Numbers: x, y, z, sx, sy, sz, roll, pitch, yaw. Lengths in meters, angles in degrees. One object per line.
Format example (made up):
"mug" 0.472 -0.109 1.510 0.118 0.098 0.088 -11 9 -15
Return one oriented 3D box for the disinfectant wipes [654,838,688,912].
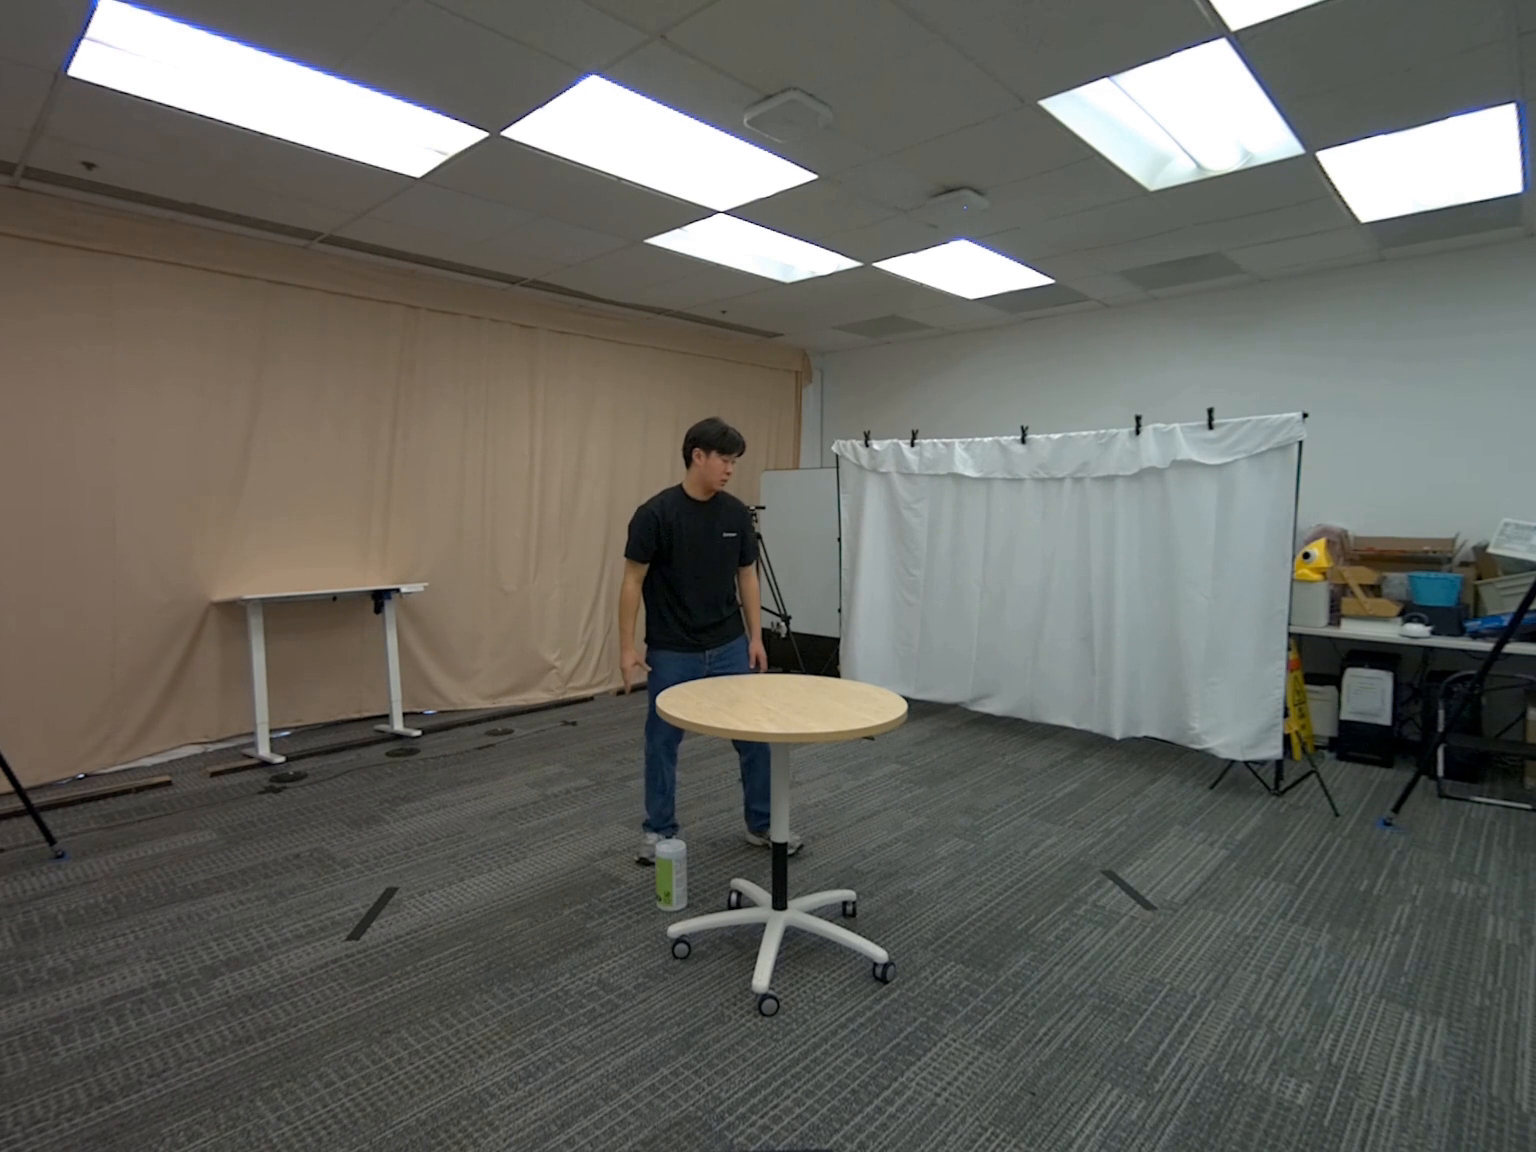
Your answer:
"disinfectant wipes" -0.341 1.049 2.938 0.118 0.217 0.118 -2 4 -2
